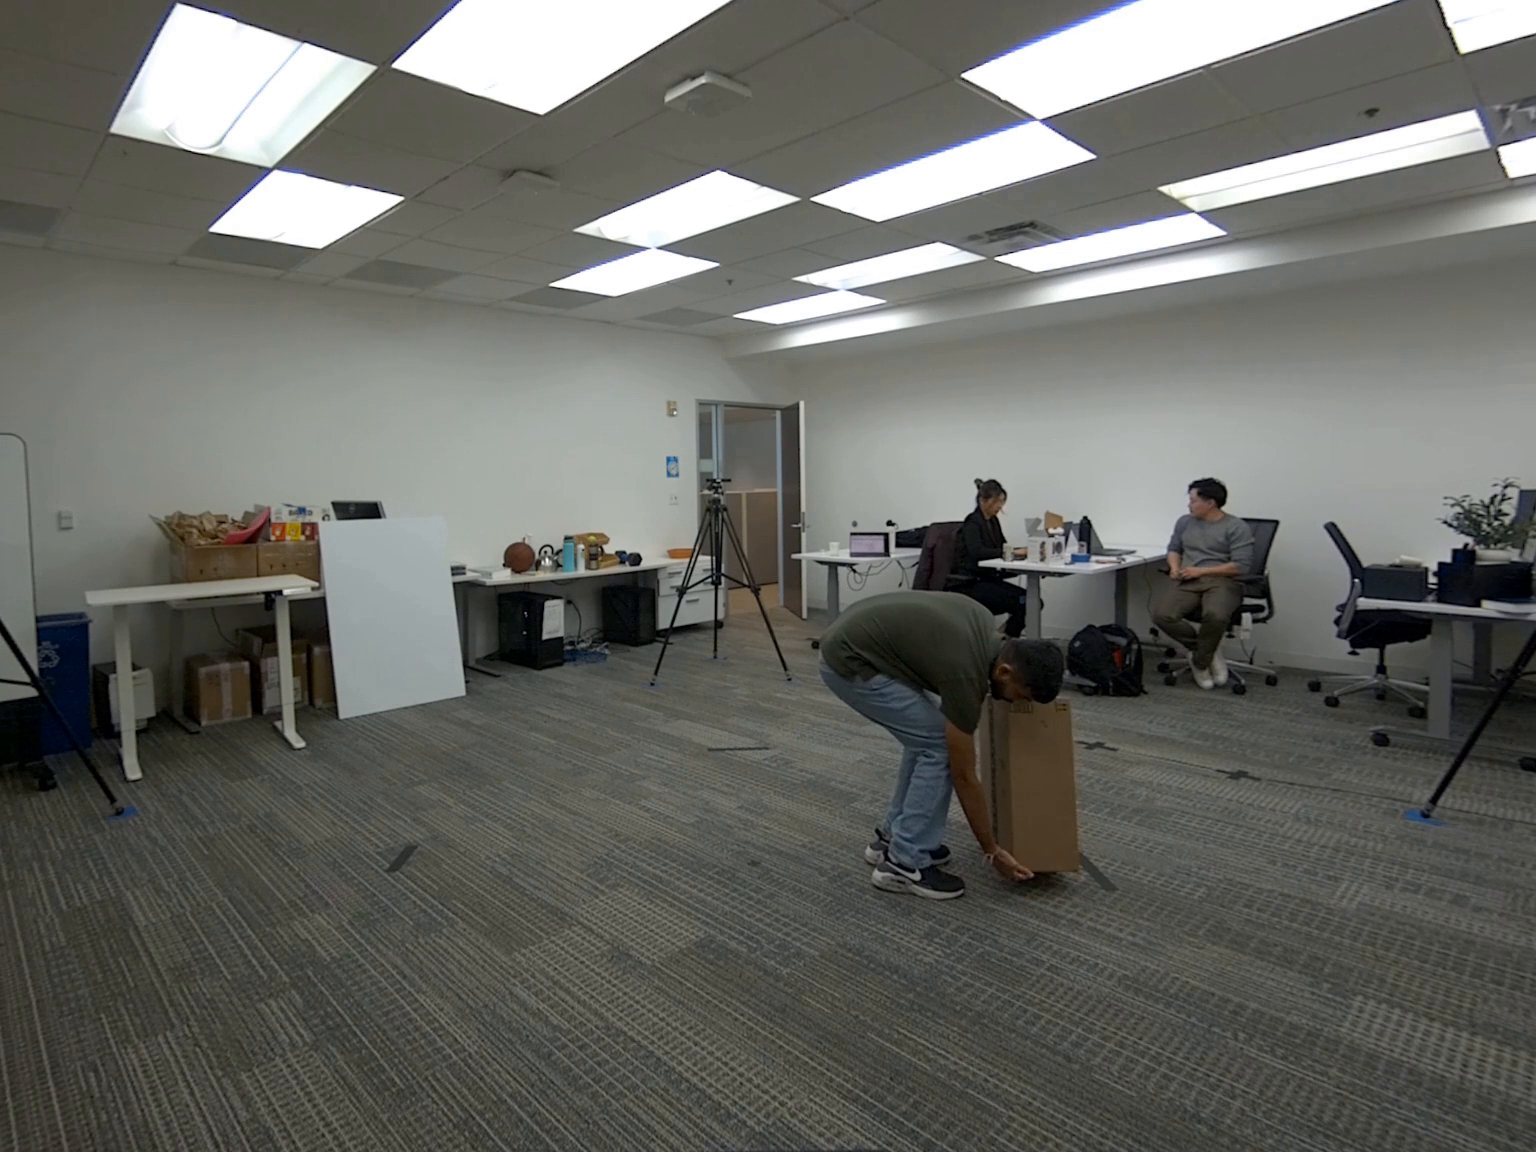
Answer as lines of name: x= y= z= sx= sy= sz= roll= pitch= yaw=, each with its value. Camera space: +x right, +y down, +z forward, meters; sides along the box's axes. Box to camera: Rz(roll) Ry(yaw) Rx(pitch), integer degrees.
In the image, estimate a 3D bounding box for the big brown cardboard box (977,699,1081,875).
big brown cardboard box: x=0.920 y=0.715 z=3.060 sx=0.233 sy=0.593 sz=0.415 roll=-1 pitch=-6 yaw=0
